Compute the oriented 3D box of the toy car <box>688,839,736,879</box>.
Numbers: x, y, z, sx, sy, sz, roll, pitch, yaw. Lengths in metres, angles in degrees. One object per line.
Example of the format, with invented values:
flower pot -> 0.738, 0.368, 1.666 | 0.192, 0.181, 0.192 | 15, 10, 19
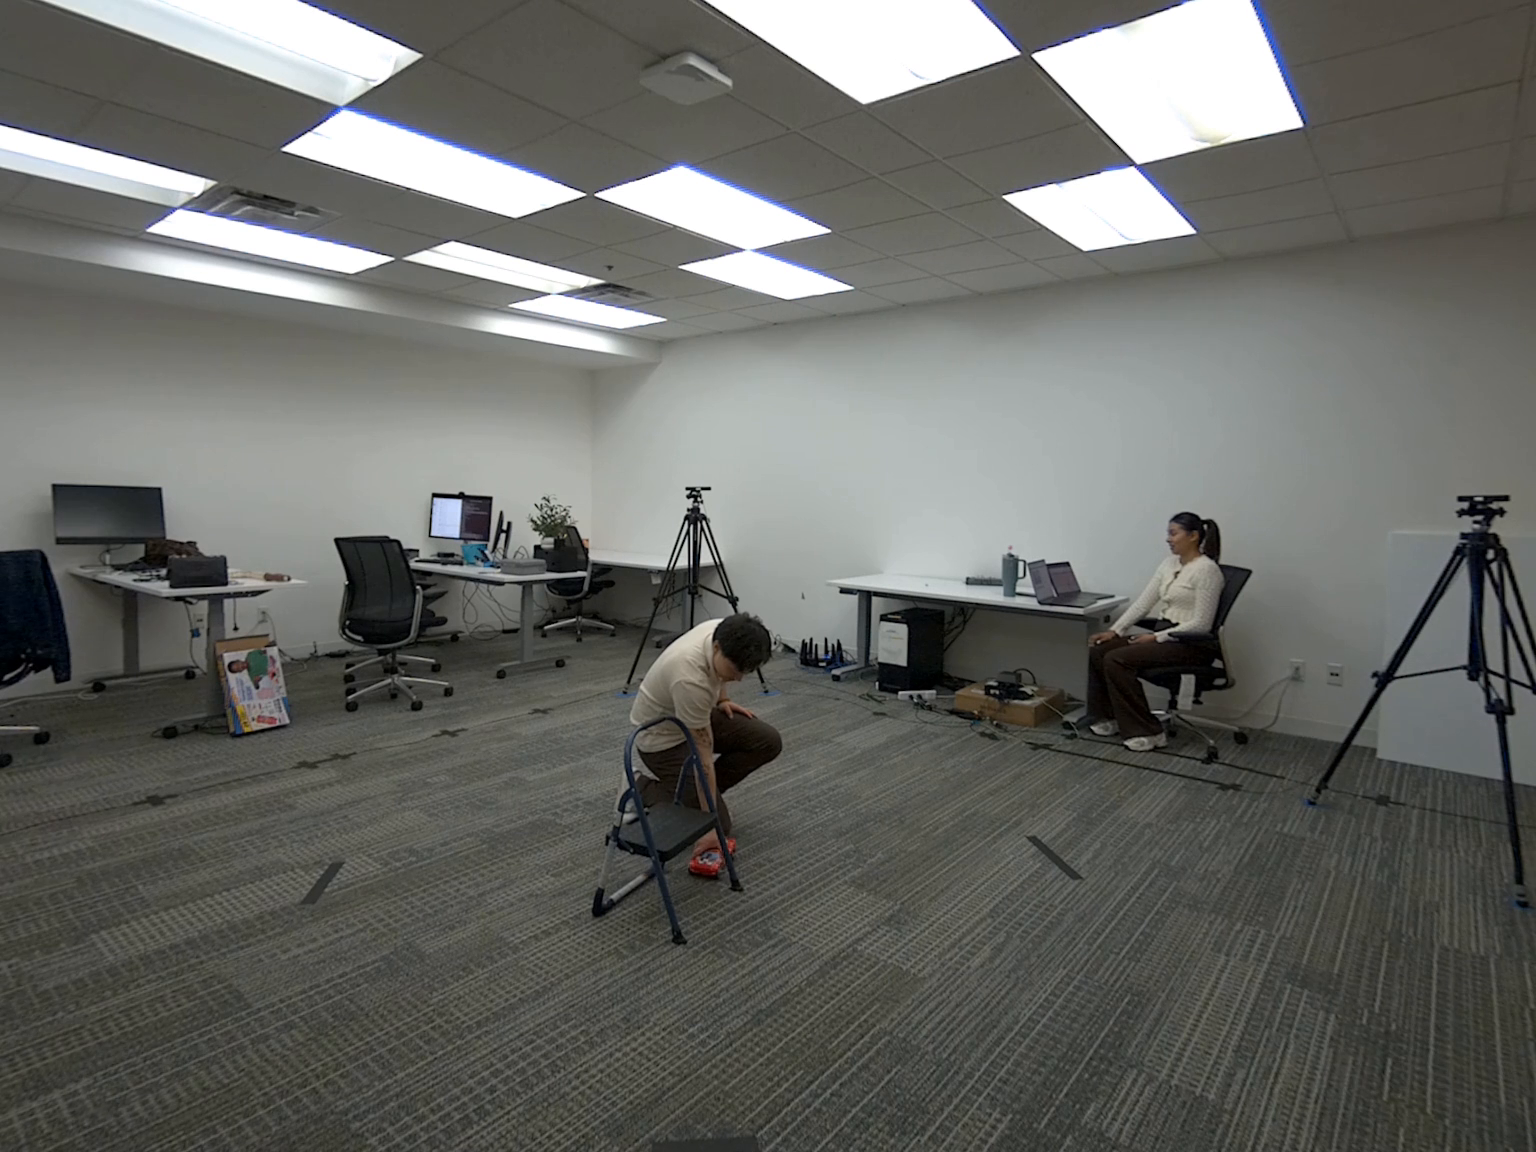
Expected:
toy car -> -0.210, 1.032, 3.128 | 0.132, 0.082, 0.255 | 0, 19, 13
